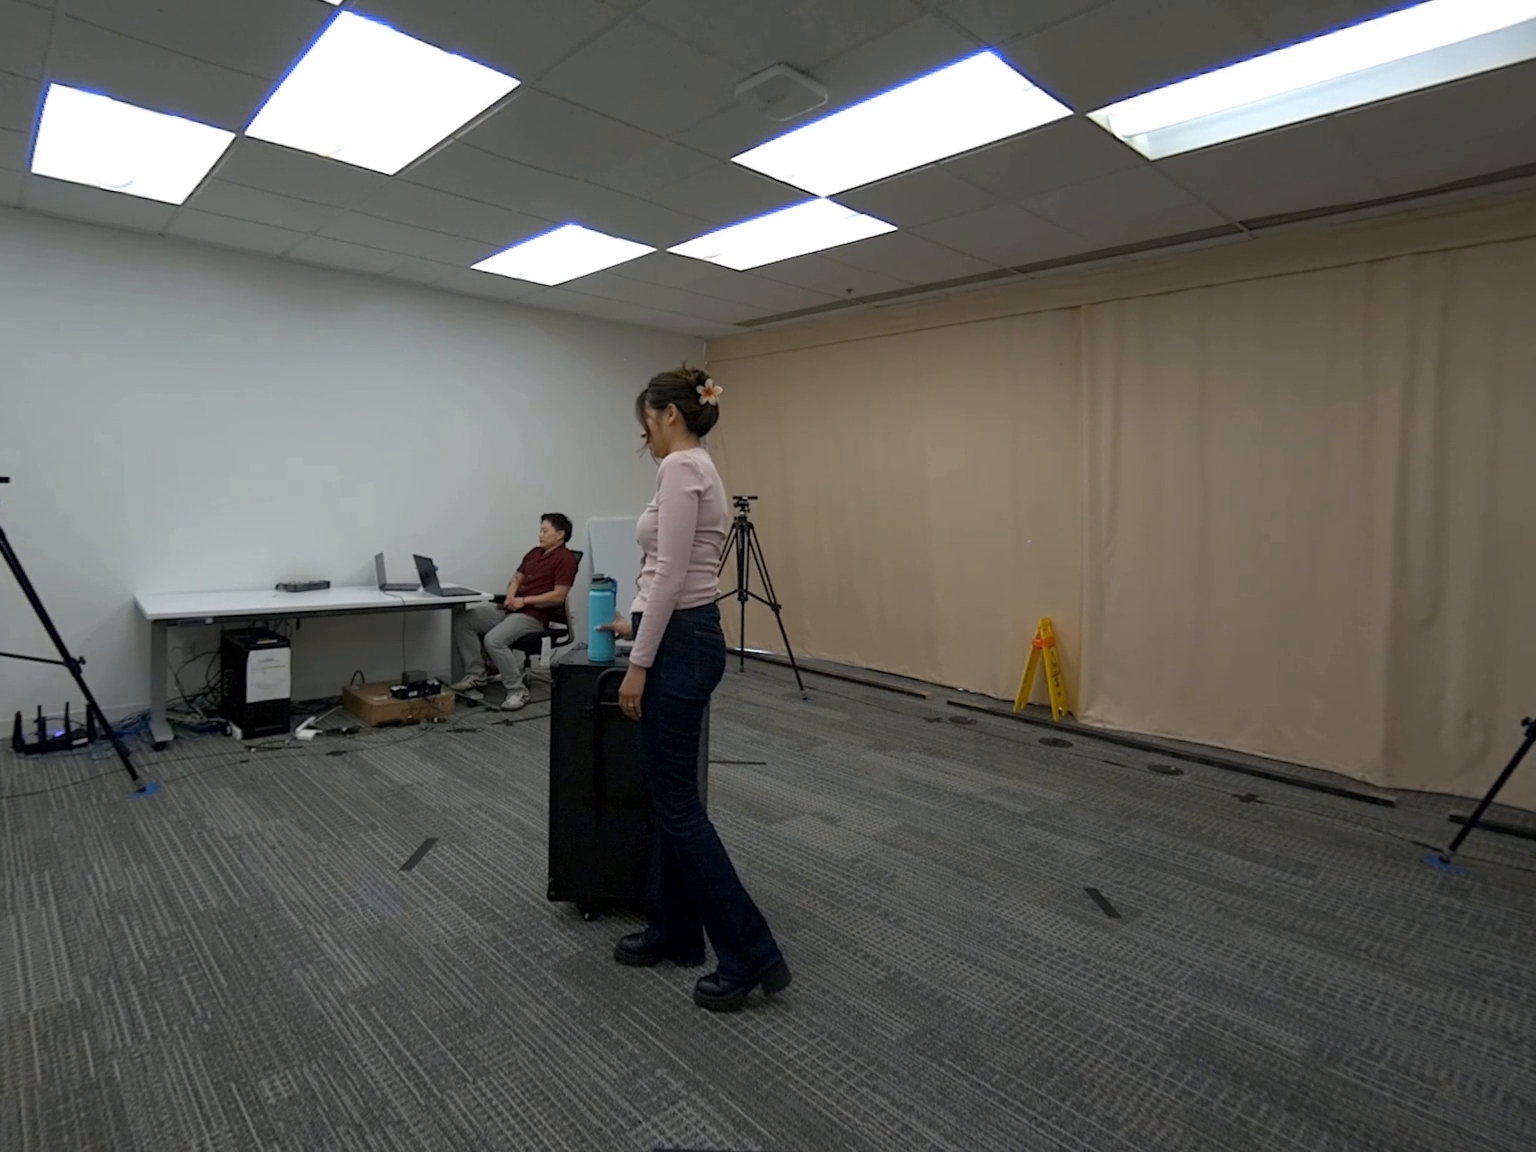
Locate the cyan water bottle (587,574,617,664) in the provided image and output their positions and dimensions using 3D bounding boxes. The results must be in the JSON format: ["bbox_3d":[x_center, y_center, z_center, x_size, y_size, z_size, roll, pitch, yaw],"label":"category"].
[{"bbox_3d":[-0.557,0.133,2.772,0.092,0.283,0.092,4,0,-1],"label":"cyan water bottle"}]
